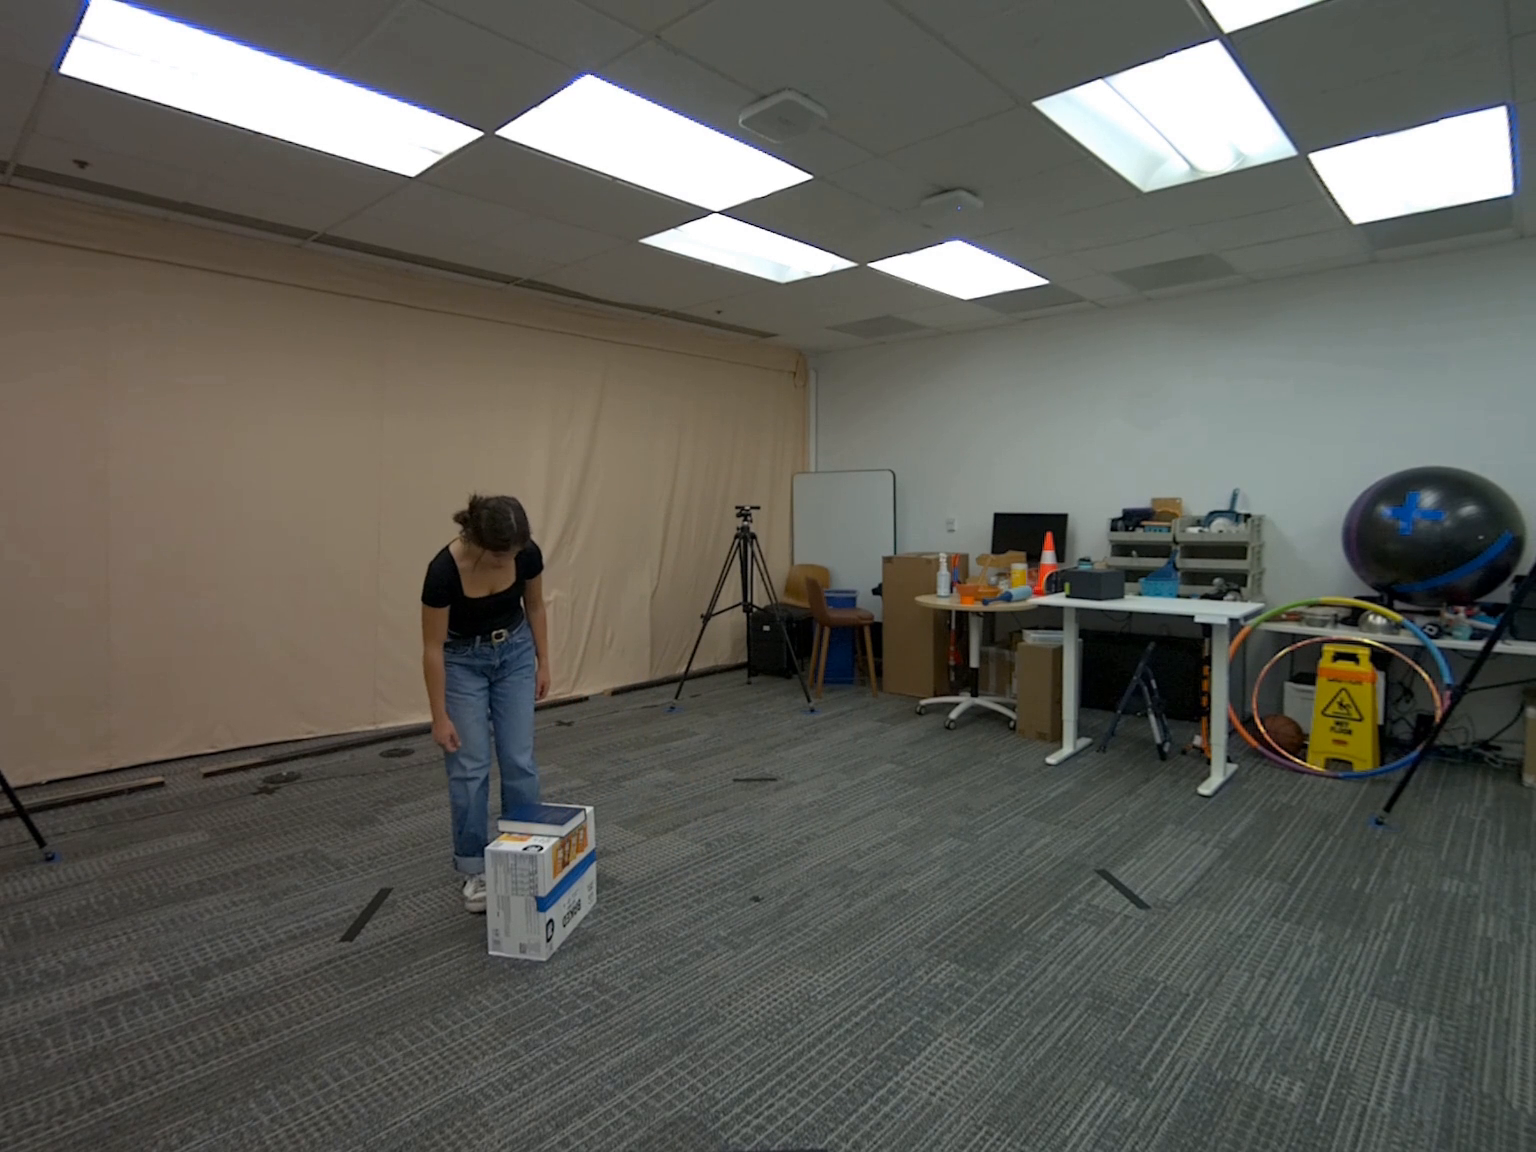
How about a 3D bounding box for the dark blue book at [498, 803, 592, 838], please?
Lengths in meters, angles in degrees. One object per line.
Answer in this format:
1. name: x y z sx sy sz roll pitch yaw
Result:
1. dark blue book: -0.747 0.807 2.788 0.249 0.045 0.161 0 4 16
